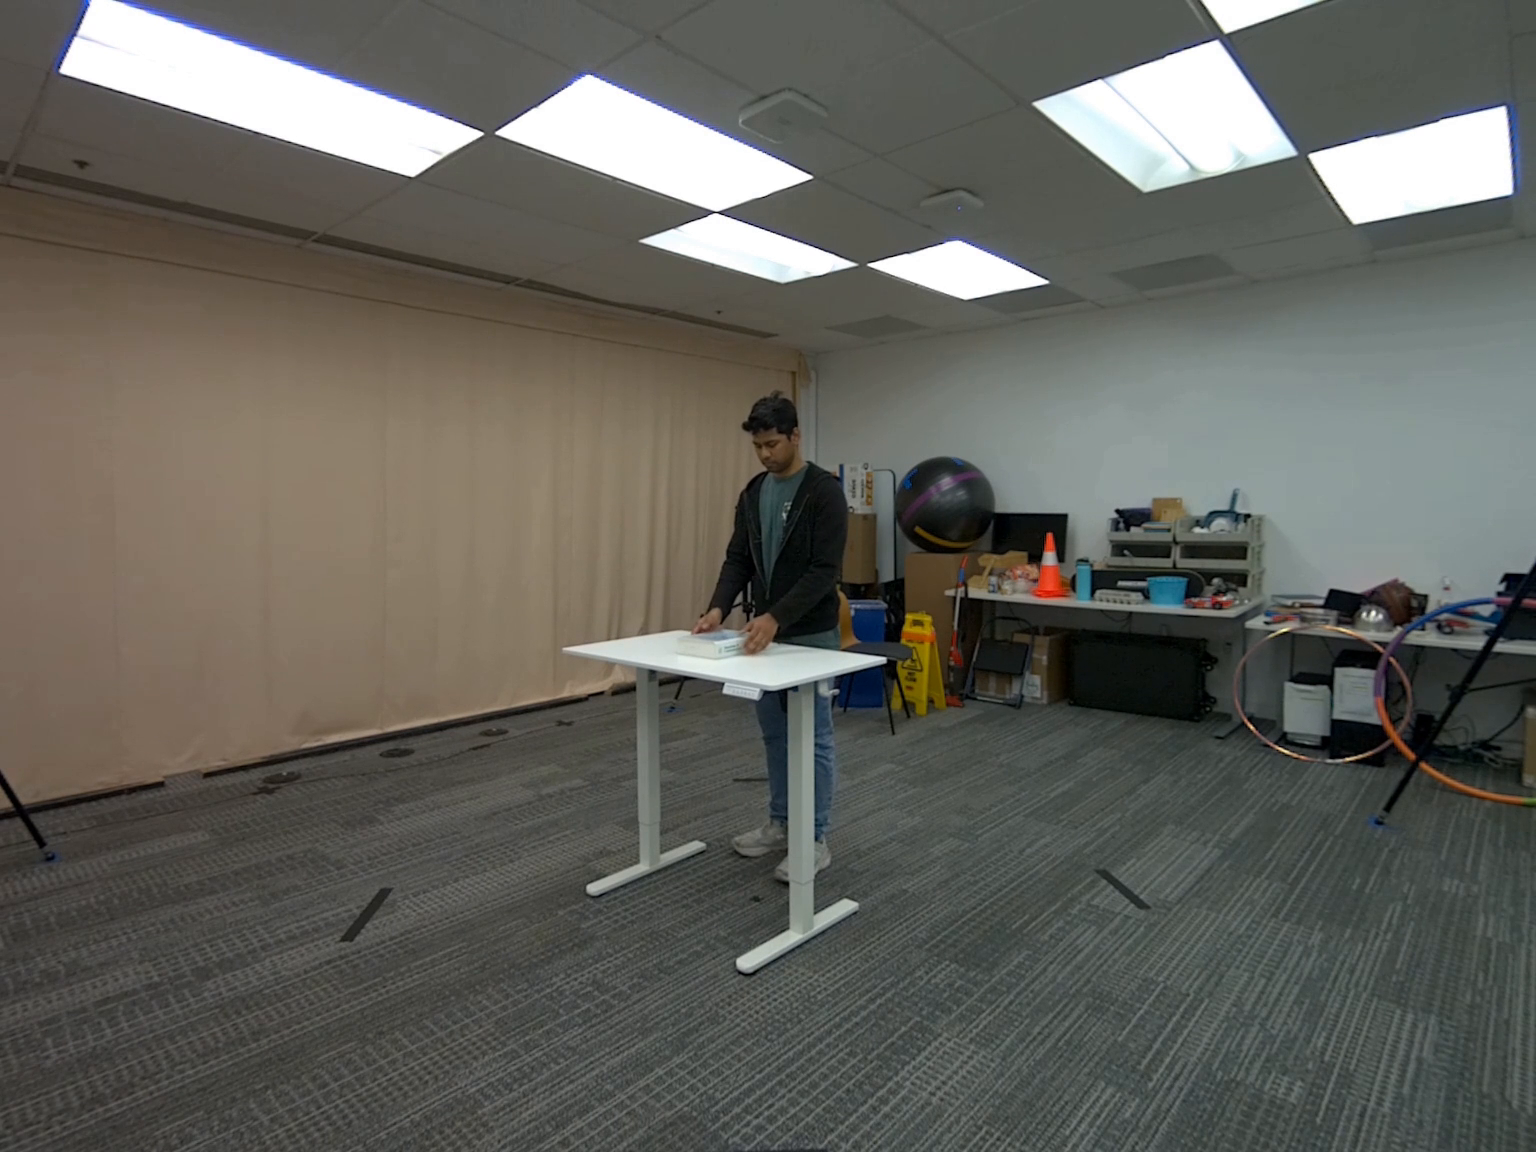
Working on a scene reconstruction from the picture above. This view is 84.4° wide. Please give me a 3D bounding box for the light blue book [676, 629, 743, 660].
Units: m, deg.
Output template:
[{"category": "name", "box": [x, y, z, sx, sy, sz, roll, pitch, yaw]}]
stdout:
[{"category": "light blue book", "box": [-0.169, 0.239, 2.950, 0.197, 0.059, 0.253, 3, 5, 38]}]
